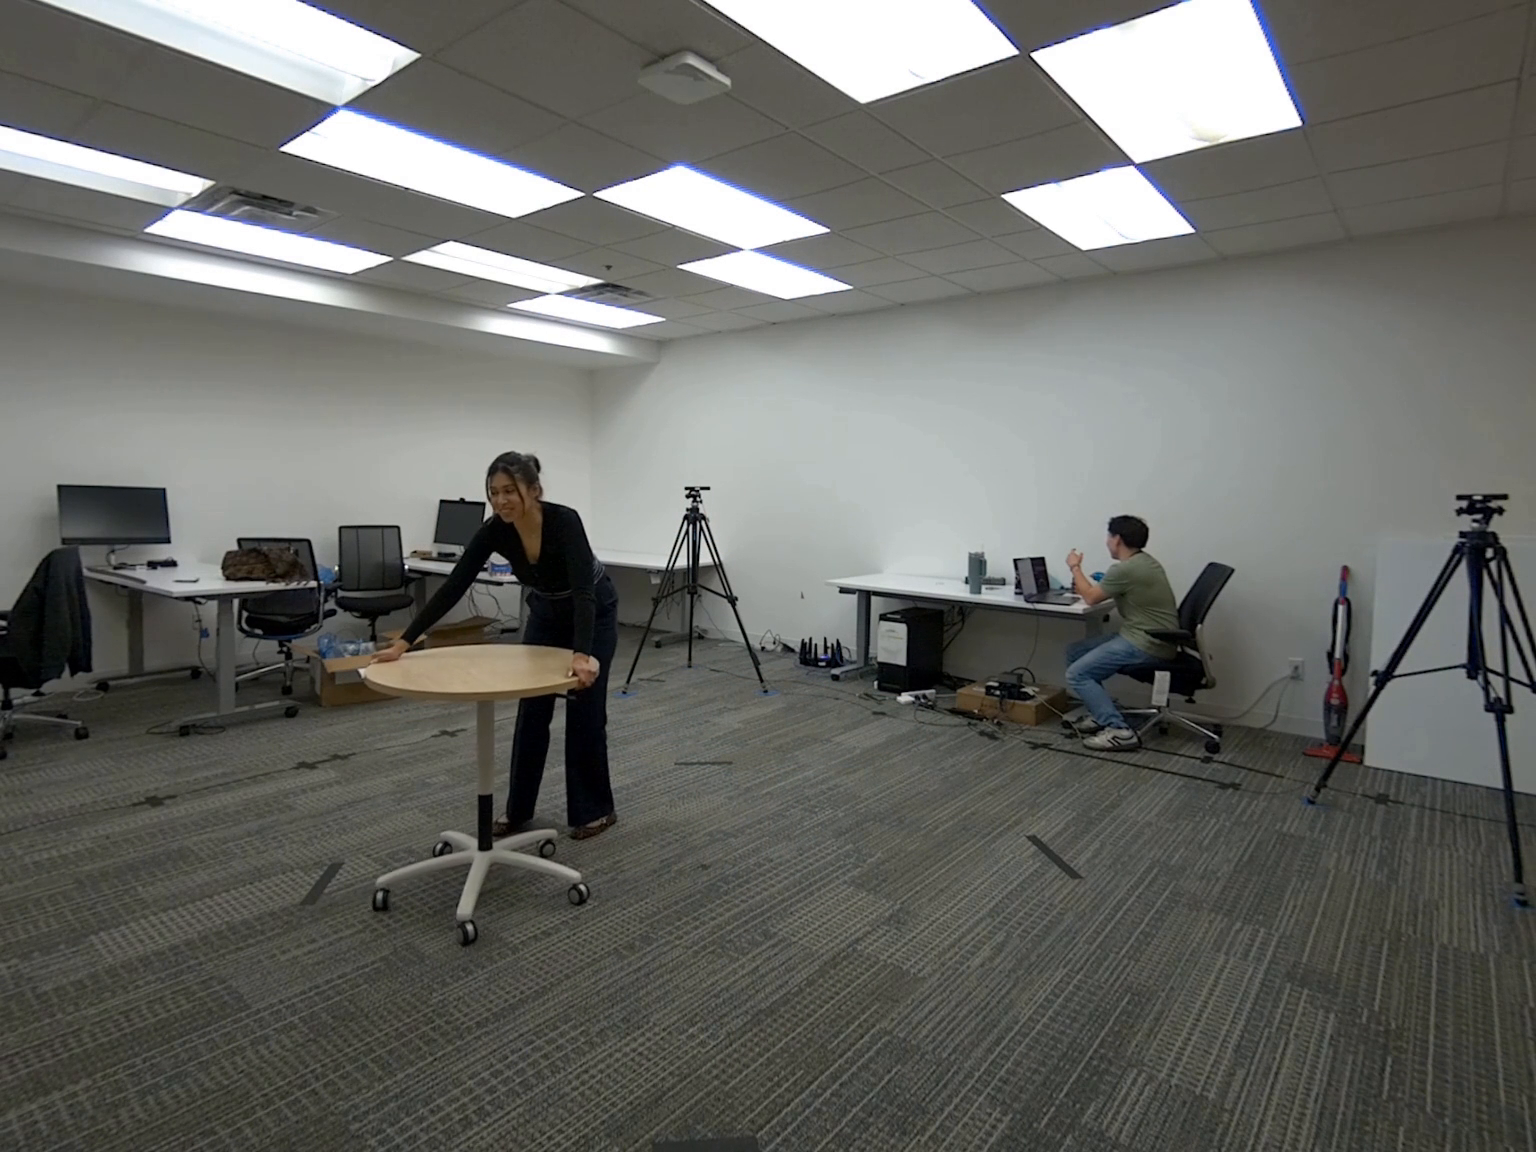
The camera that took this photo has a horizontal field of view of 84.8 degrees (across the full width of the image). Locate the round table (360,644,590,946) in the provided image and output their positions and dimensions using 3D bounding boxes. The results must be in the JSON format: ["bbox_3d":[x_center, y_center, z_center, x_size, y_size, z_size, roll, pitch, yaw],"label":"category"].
[{"bbox_3d":[-0.970,0.691,2.898,0.763,0.791,0.768,1,4,-2],"label":"round table"}]
